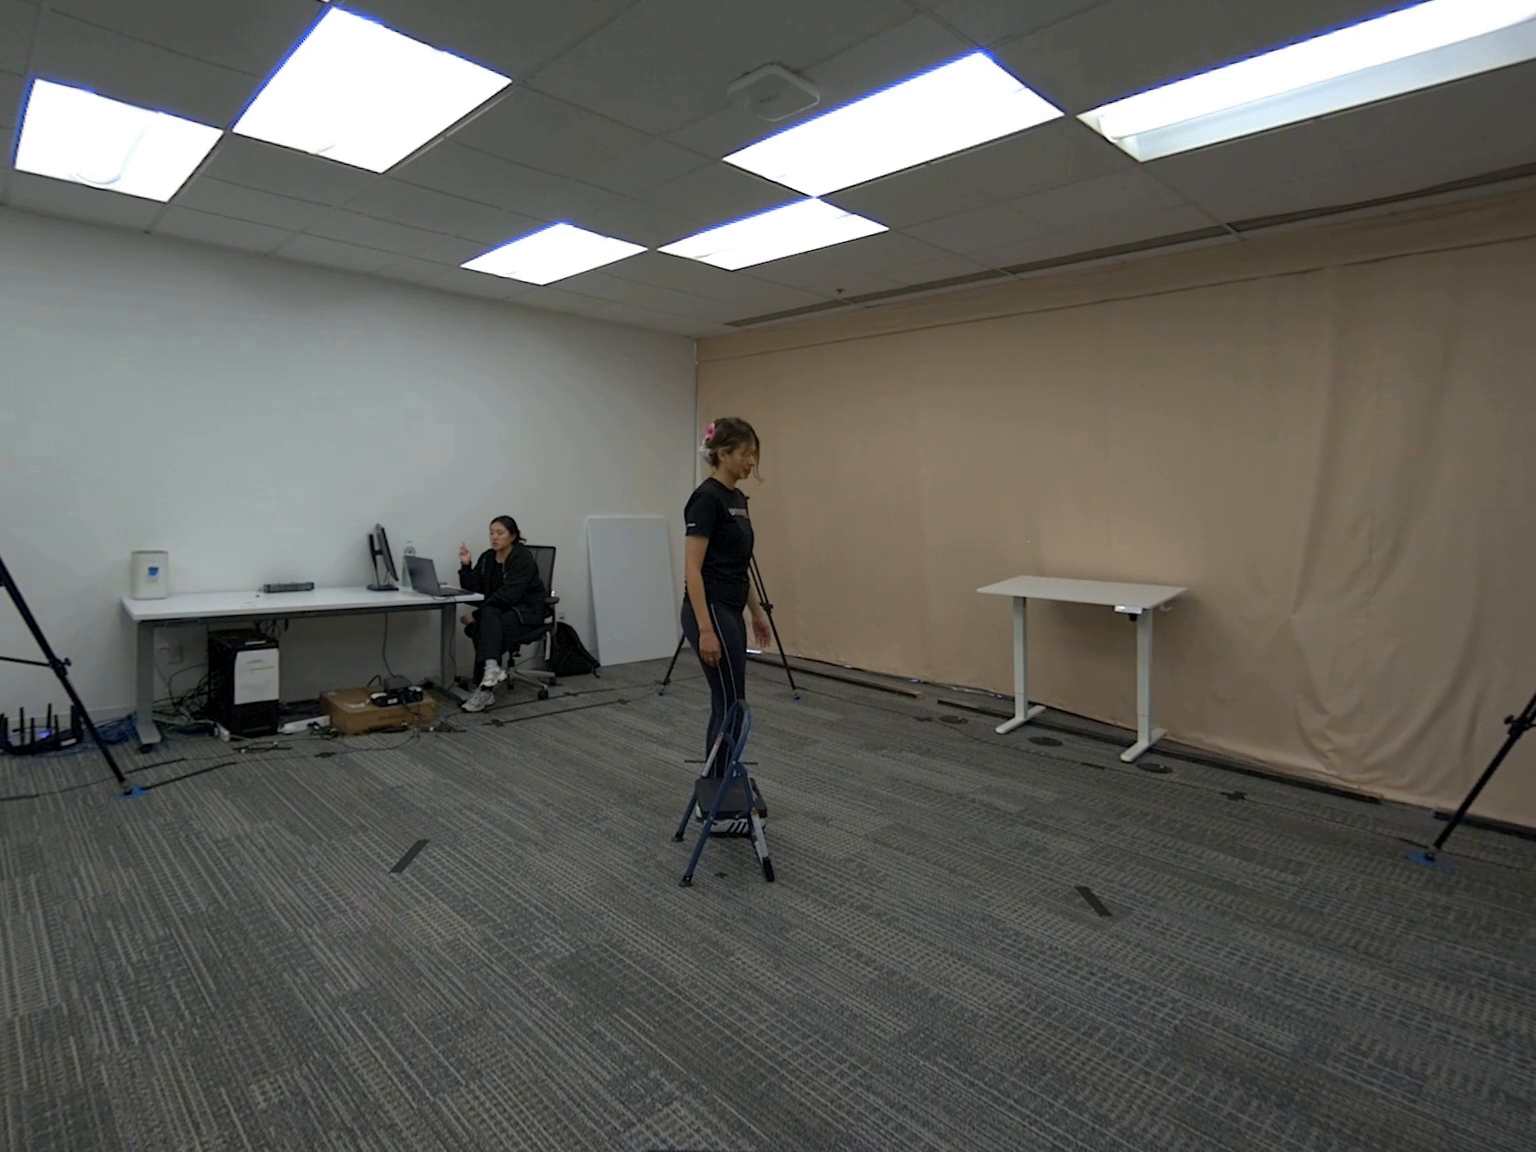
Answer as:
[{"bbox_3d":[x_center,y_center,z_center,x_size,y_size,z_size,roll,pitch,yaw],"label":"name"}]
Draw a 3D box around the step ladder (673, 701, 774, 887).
[{"bbox_3d":[-0.180,0.795,3.211,0.347,0.604,0.435,0,4,-9],"label":"step ladder"}]
